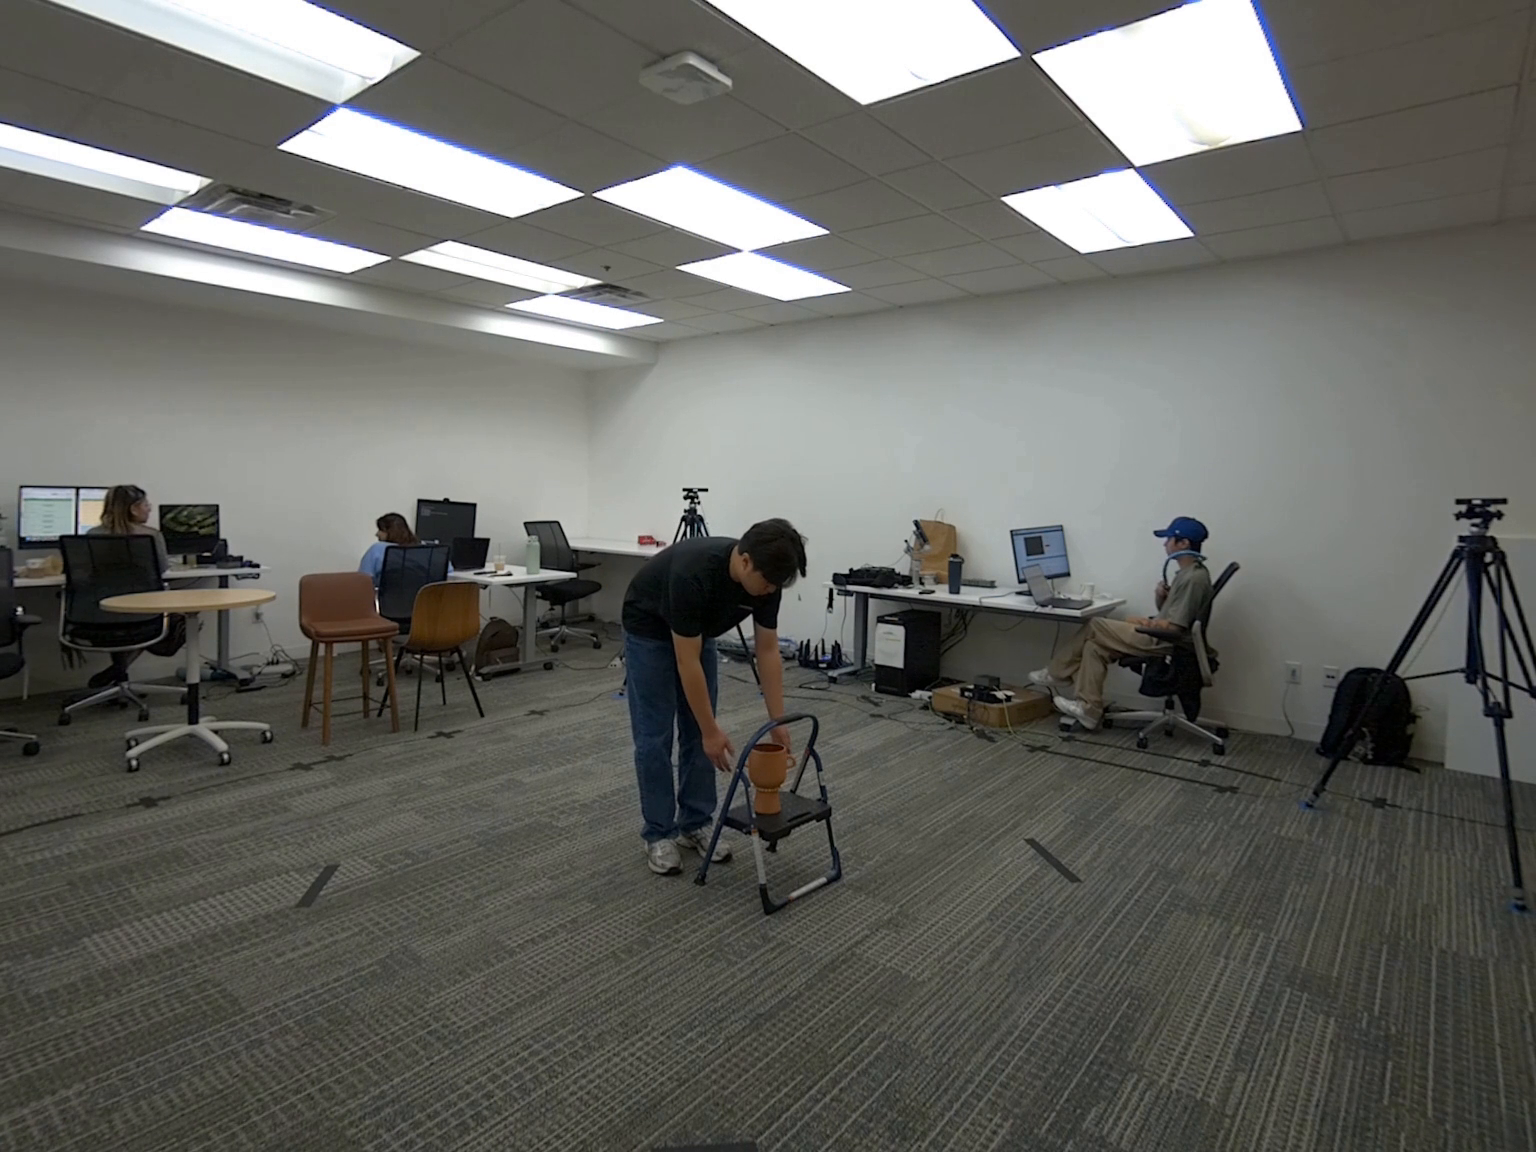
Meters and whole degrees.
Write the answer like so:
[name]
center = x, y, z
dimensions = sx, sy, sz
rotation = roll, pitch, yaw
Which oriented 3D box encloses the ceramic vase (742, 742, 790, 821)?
[ceramic vase]
center = -0.006, 0.713, 3.000
dimensions = 0.164, 0.219, 0.130
rotation = 3, 3, 41
